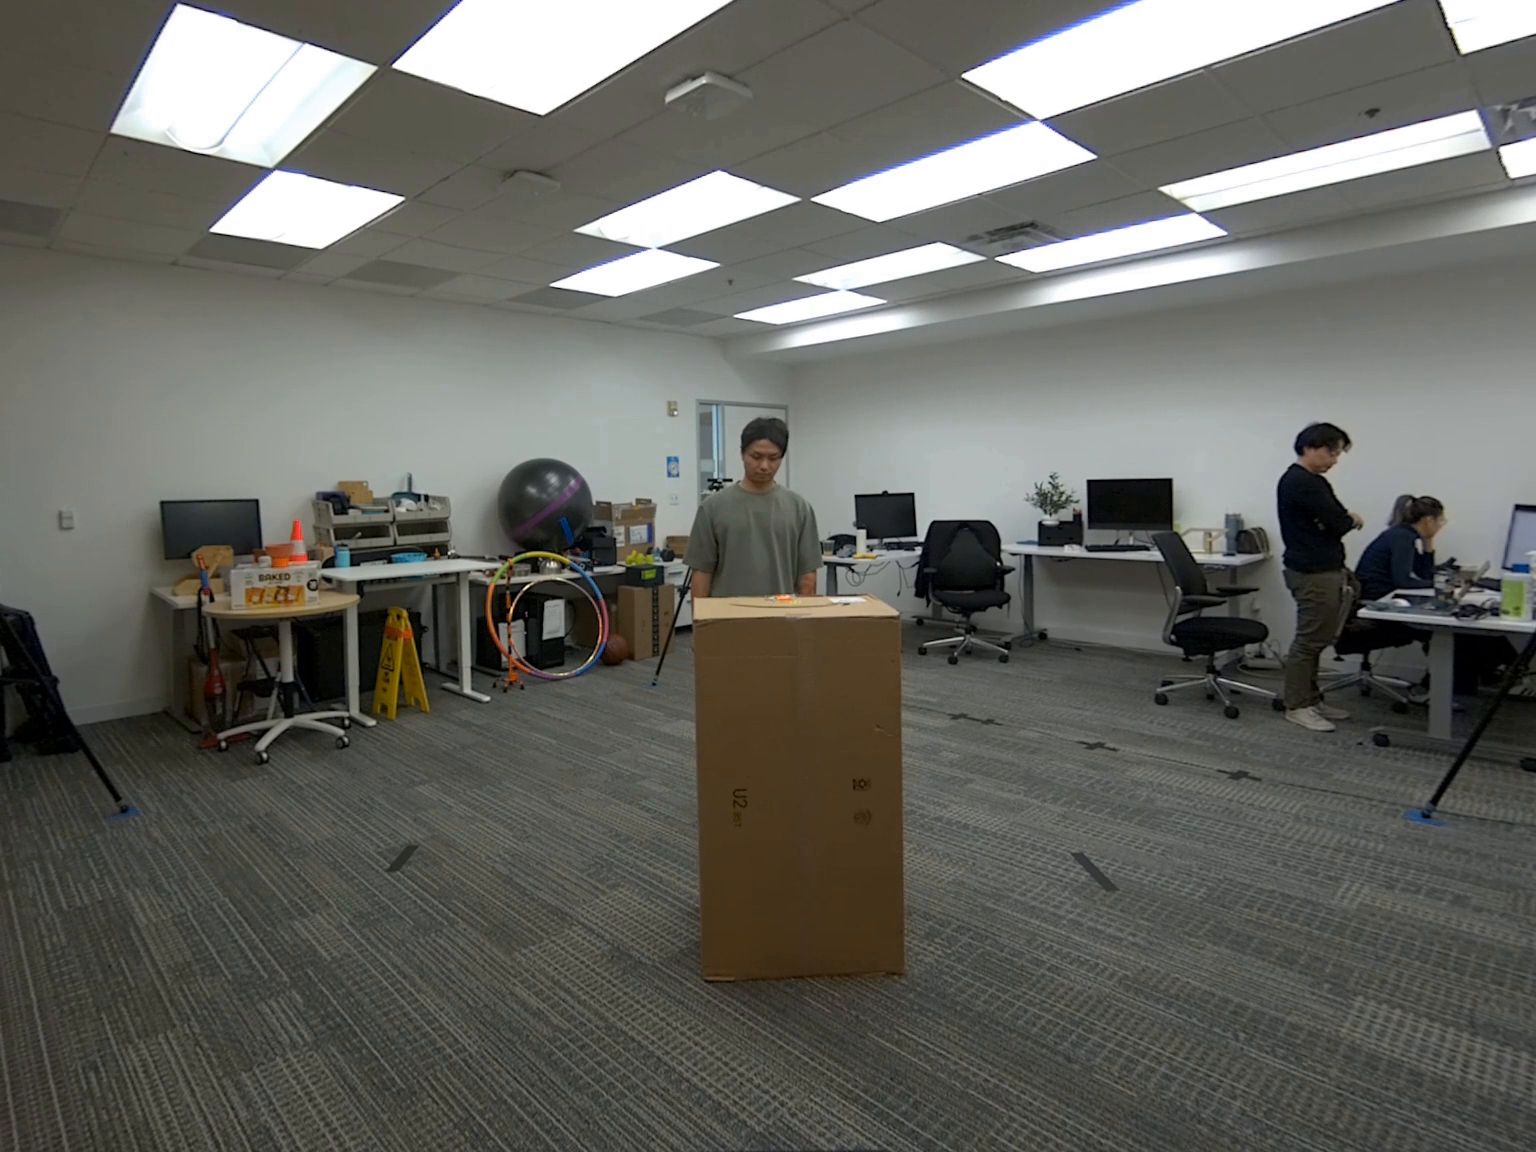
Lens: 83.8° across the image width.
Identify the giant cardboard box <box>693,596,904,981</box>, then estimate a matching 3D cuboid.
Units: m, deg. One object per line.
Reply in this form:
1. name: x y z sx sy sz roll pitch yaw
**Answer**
1. giant cardboard box: 0.074 0.599 2.571 0.576 1.022 0.429 -2 4 -4
